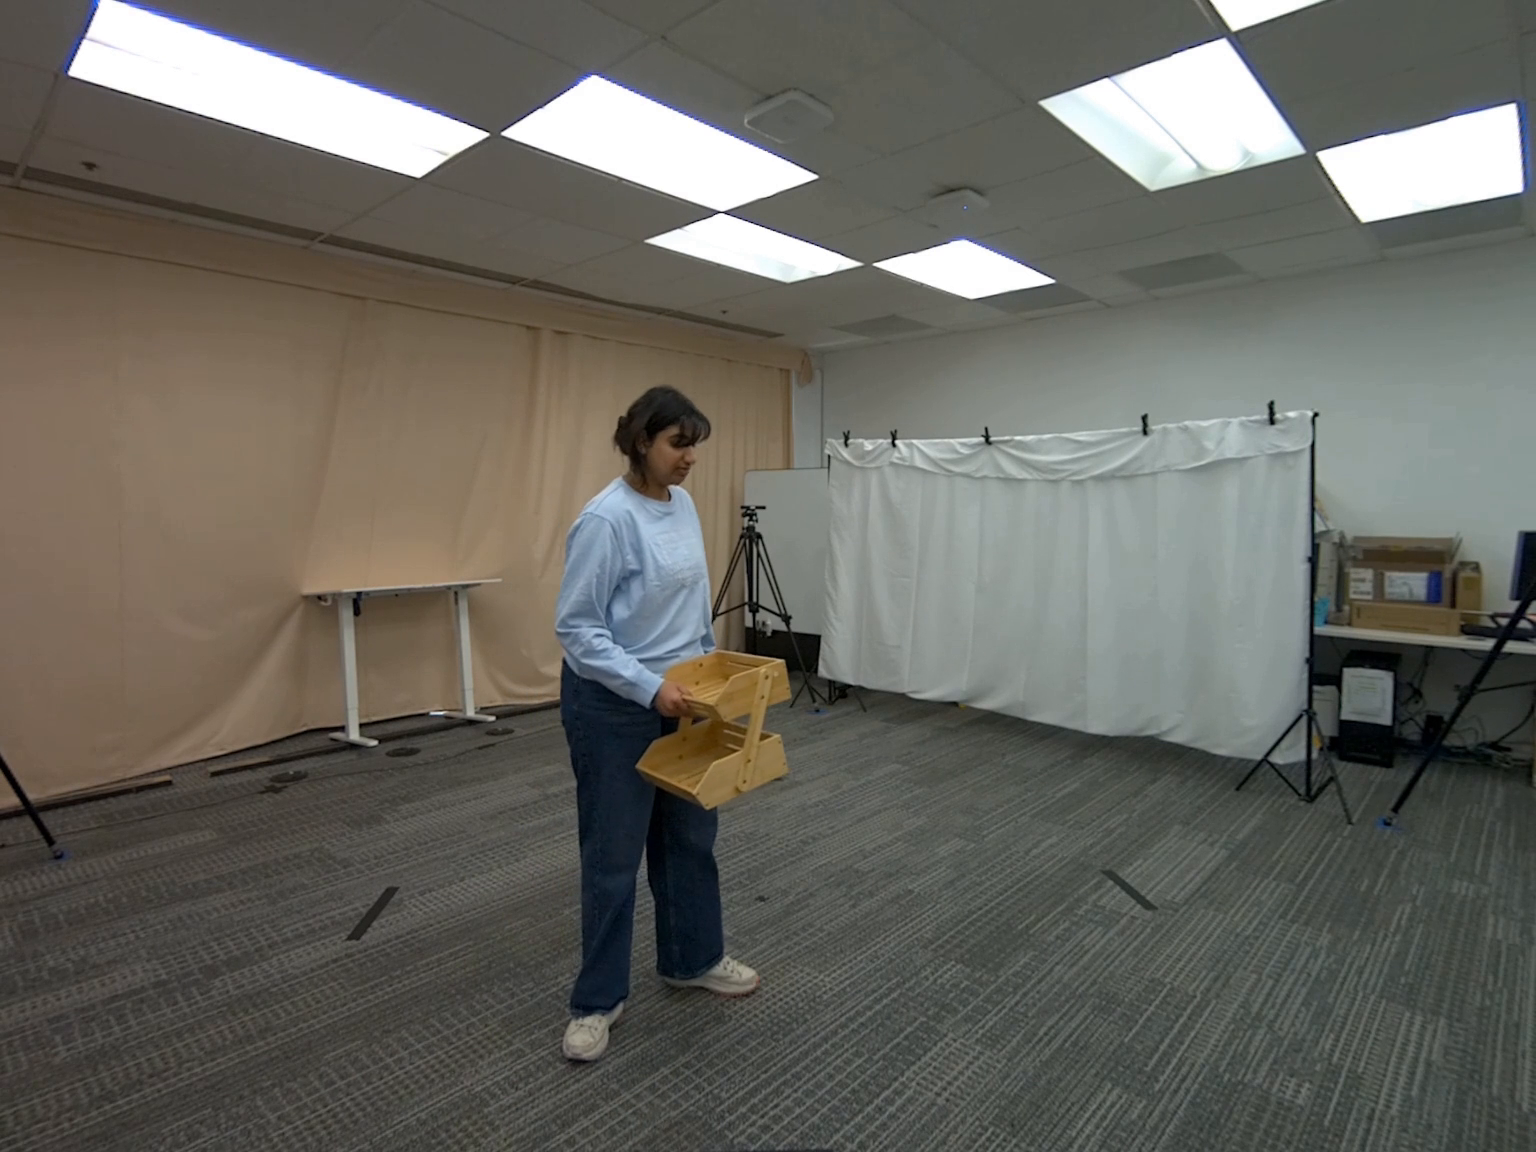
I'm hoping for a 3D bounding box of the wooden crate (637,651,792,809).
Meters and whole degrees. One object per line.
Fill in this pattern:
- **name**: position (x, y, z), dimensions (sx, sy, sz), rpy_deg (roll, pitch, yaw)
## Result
- **wooden crate**: position (-0.142, 0.360, 2.012), dimensions (0.295, 0.272, 0.333), rpy_deg (-15, 8, -31)
